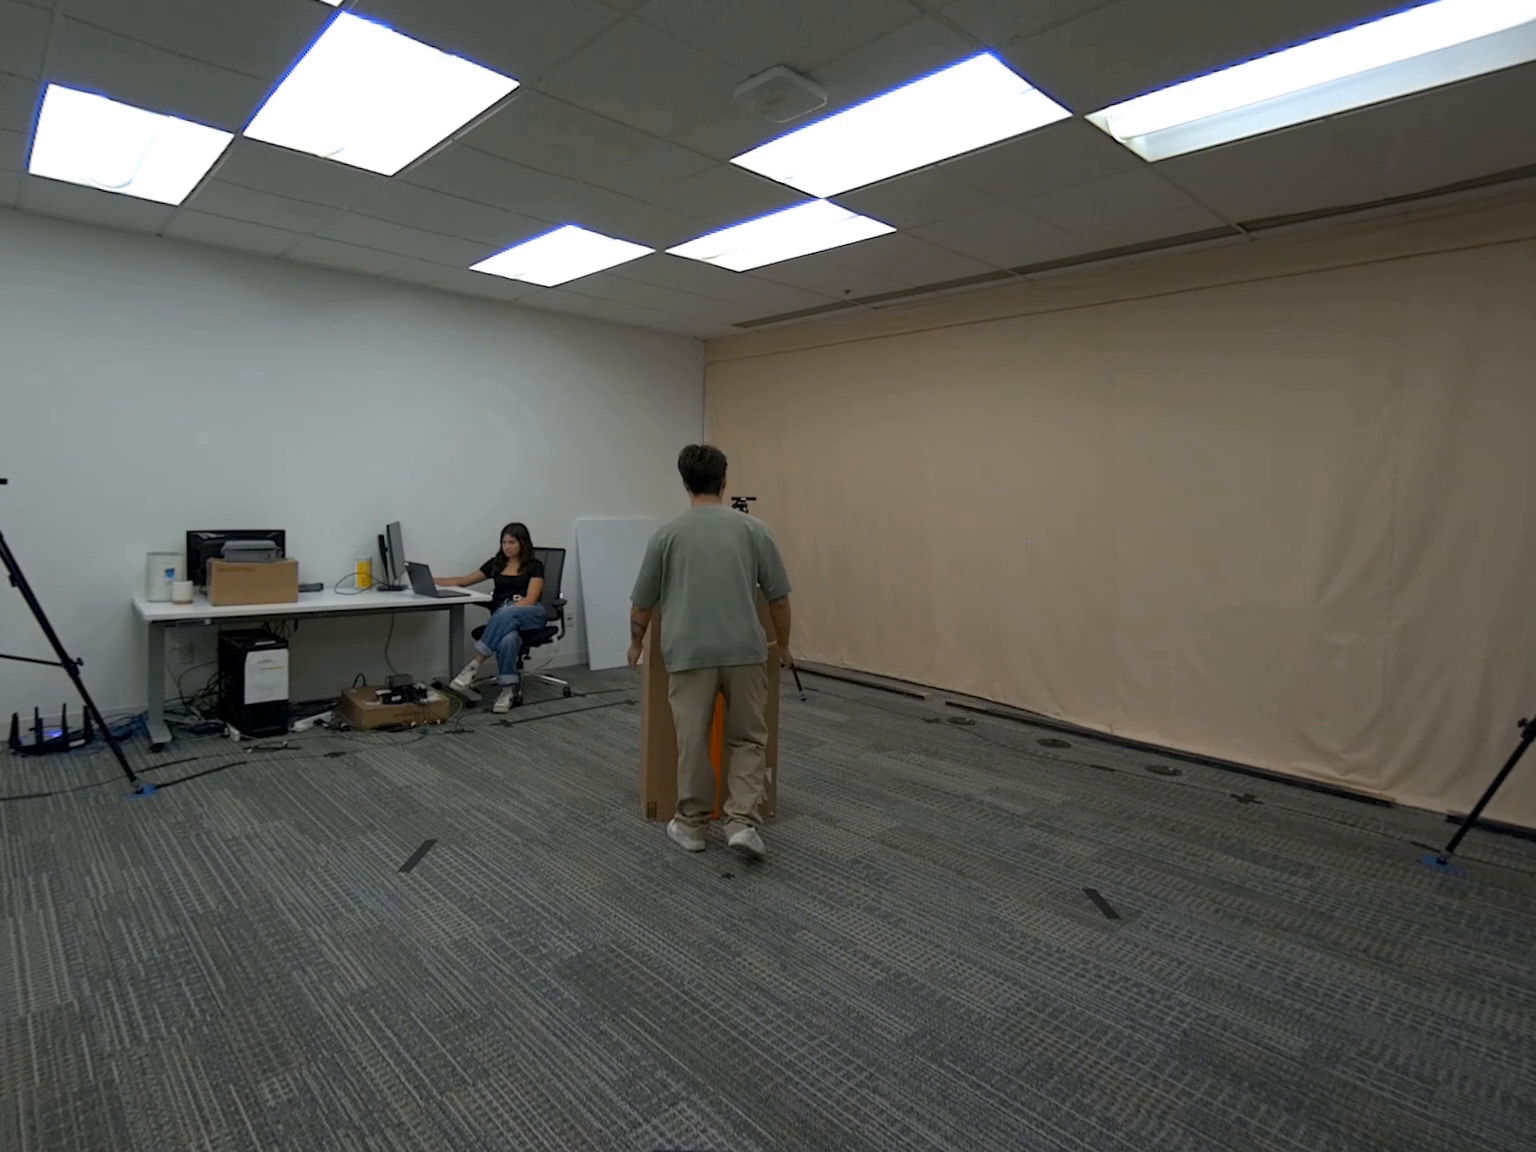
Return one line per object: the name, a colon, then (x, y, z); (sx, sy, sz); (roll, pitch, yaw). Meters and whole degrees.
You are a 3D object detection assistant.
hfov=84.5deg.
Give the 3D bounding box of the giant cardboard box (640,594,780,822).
giant cardboard box: (-0.278, 0.535, 3.846); (0.572, 1.024, 0.431); (1, 2, -11)
